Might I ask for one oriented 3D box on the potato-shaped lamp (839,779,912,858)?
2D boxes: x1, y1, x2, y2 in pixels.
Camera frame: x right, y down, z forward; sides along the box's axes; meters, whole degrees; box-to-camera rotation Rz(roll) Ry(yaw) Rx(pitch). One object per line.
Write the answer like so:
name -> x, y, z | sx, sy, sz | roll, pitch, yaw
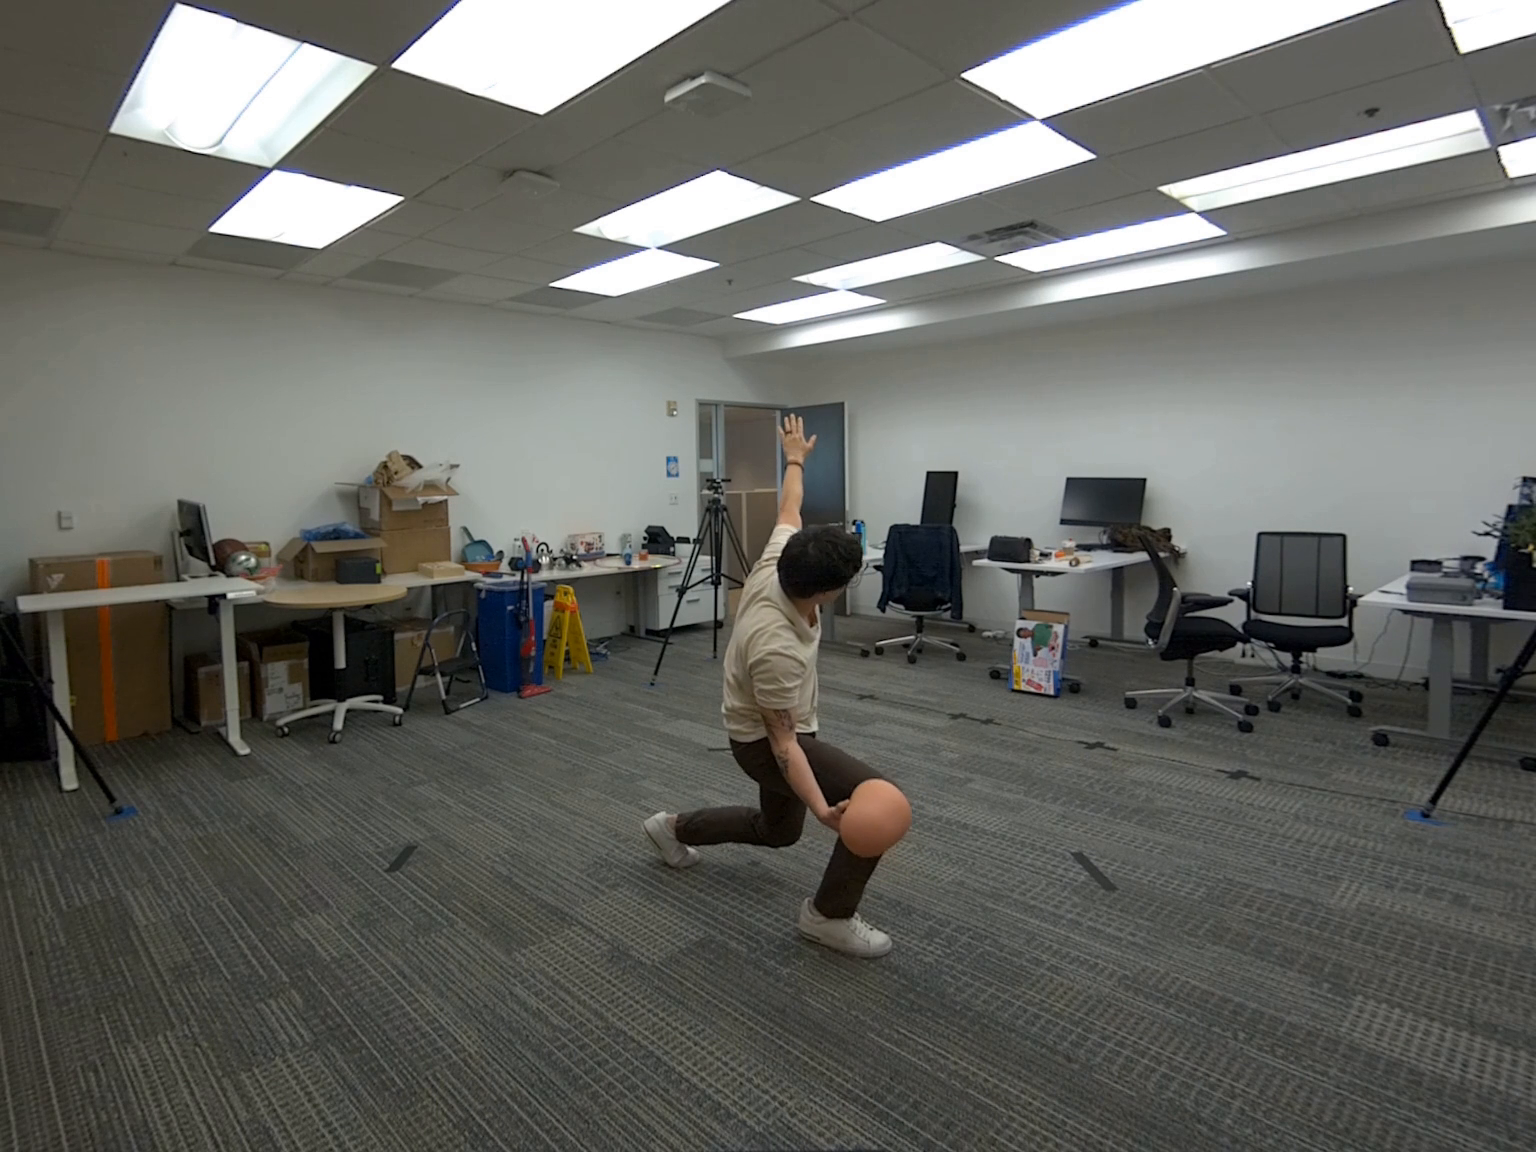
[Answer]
potato-shaped lamp -> 0.271, 0.625, 2.220 | 0.197, 0.165, 0.172 | -37, -2, -39
